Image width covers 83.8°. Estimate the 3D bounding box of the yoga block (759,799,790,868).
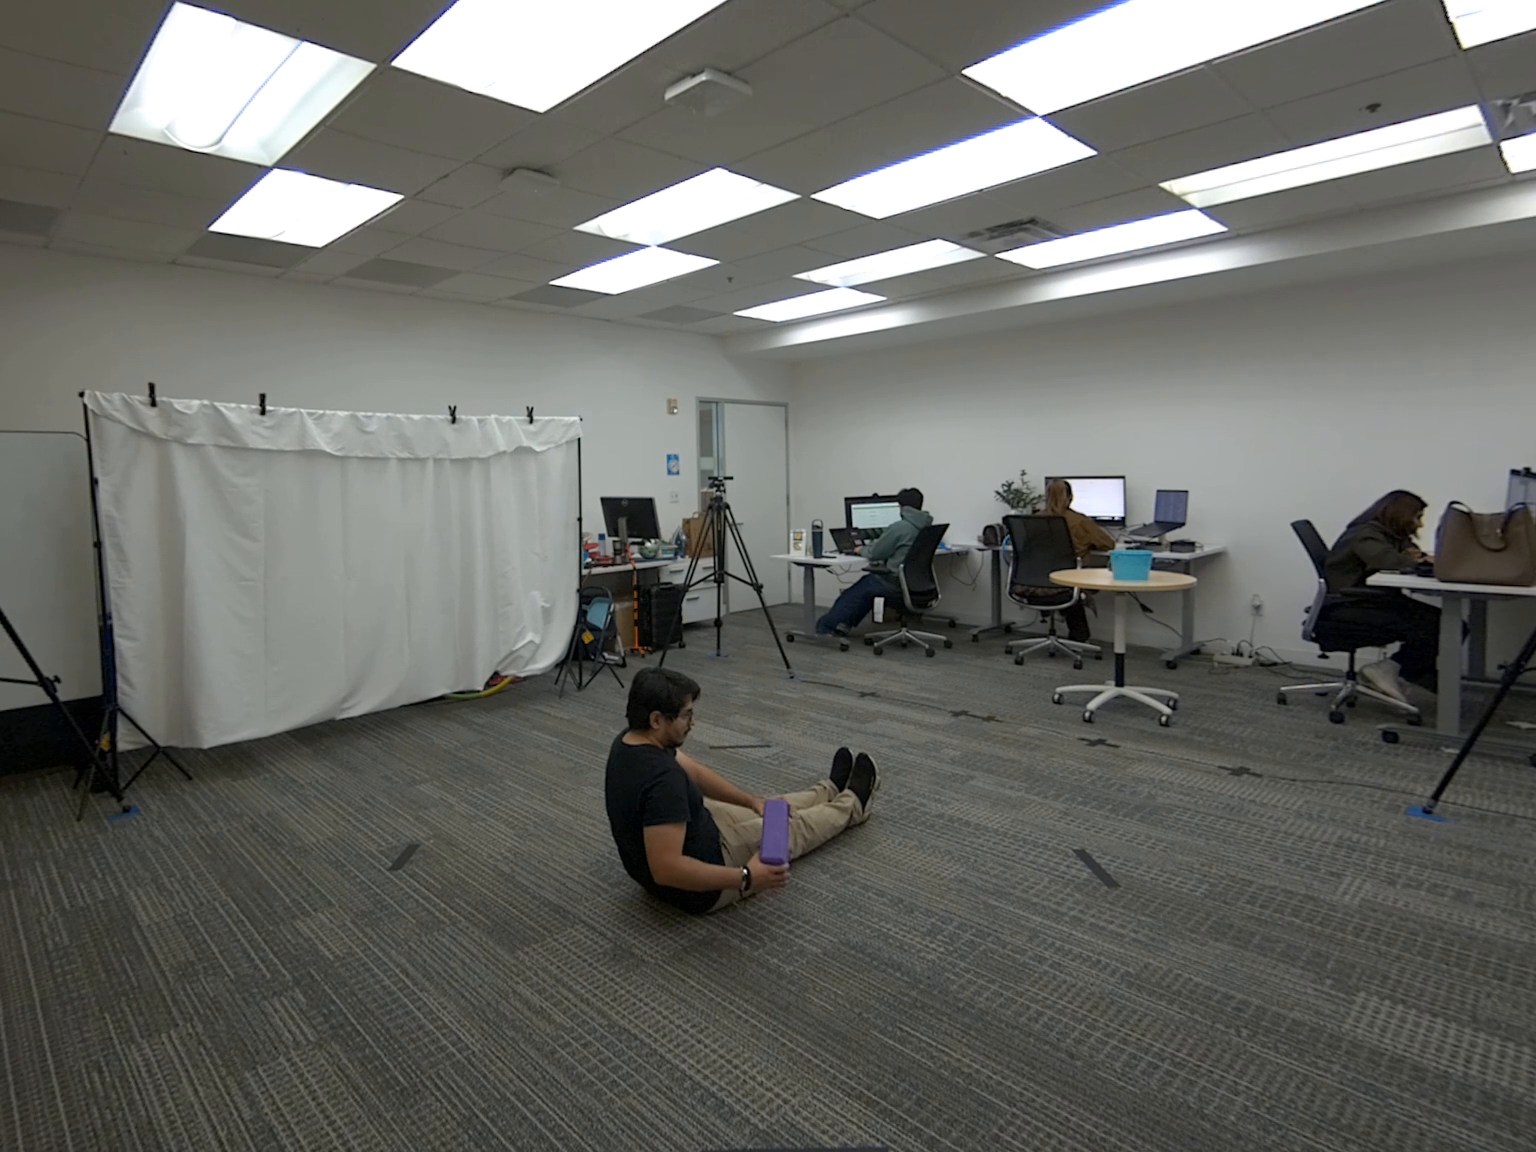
[{"bbox_3d":[0.018,0.849,2.722,0.077,0.145,0.235,0,39,3],"label":"yoga block"}]
